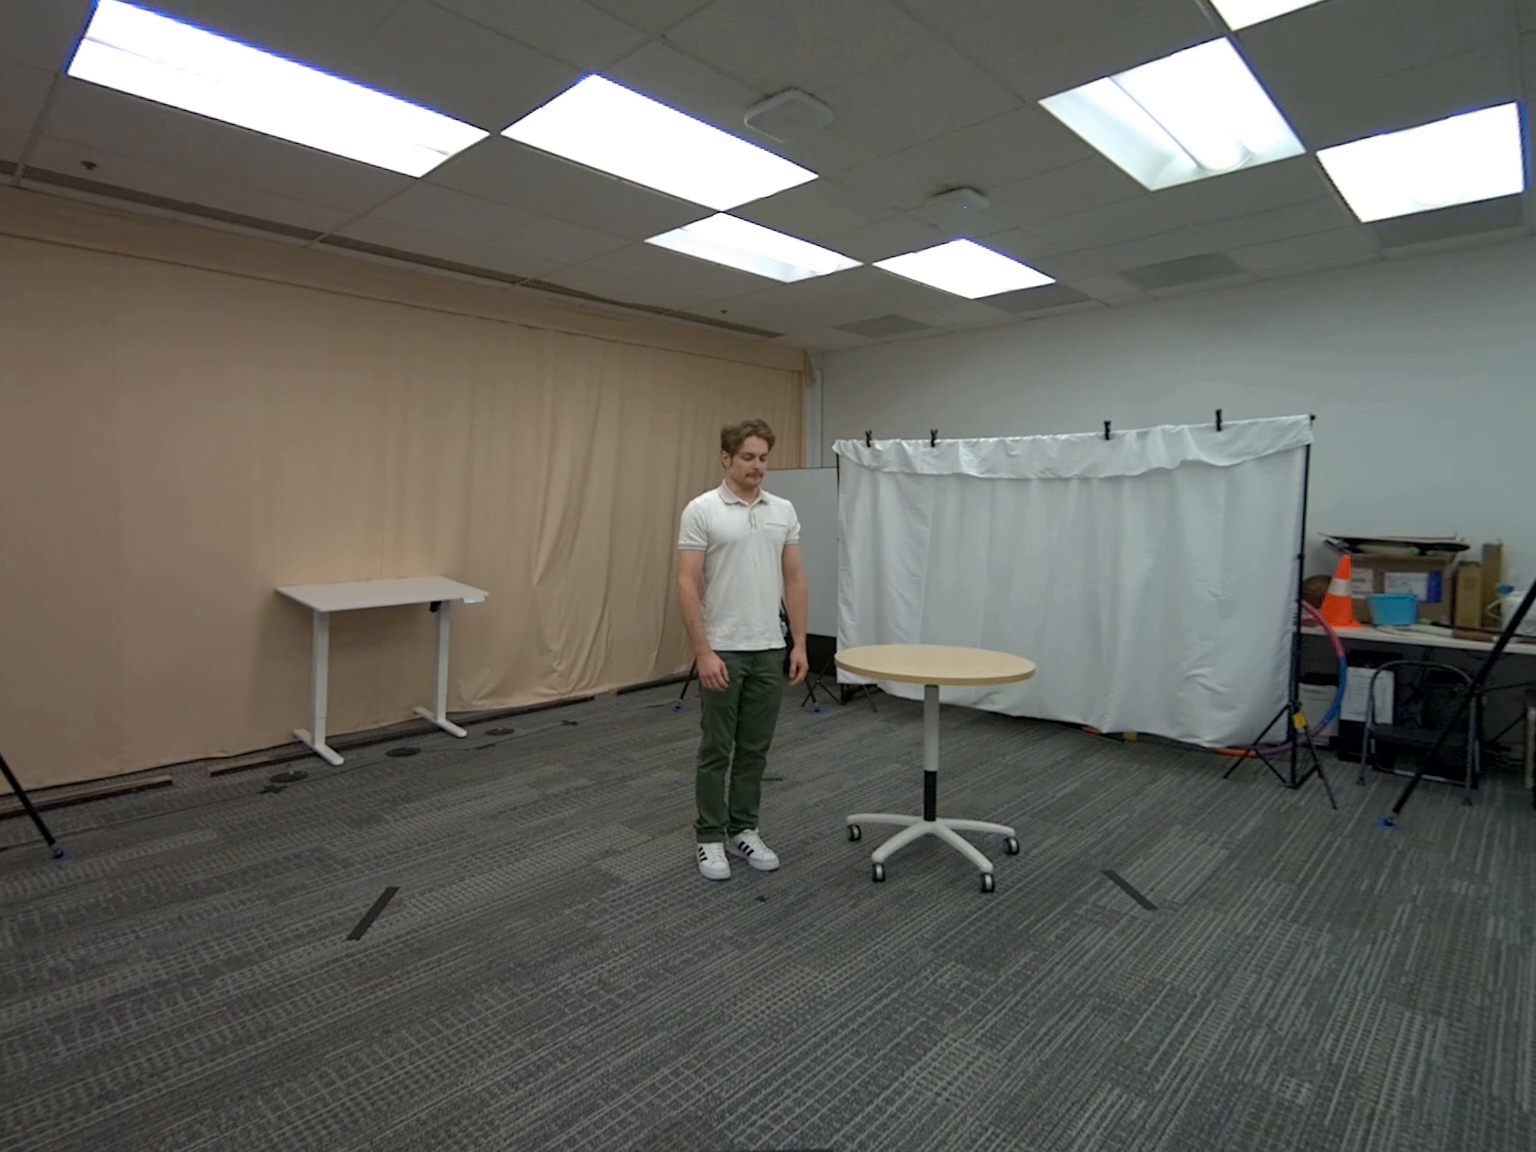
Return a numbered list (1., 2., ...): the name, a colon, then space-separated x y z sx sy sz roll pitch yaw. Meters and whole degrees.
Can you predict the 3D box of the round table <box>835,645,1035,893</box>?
1. round table: 0.649 0.725 3.343 0.763 0.792 0.766 1 3 -2
